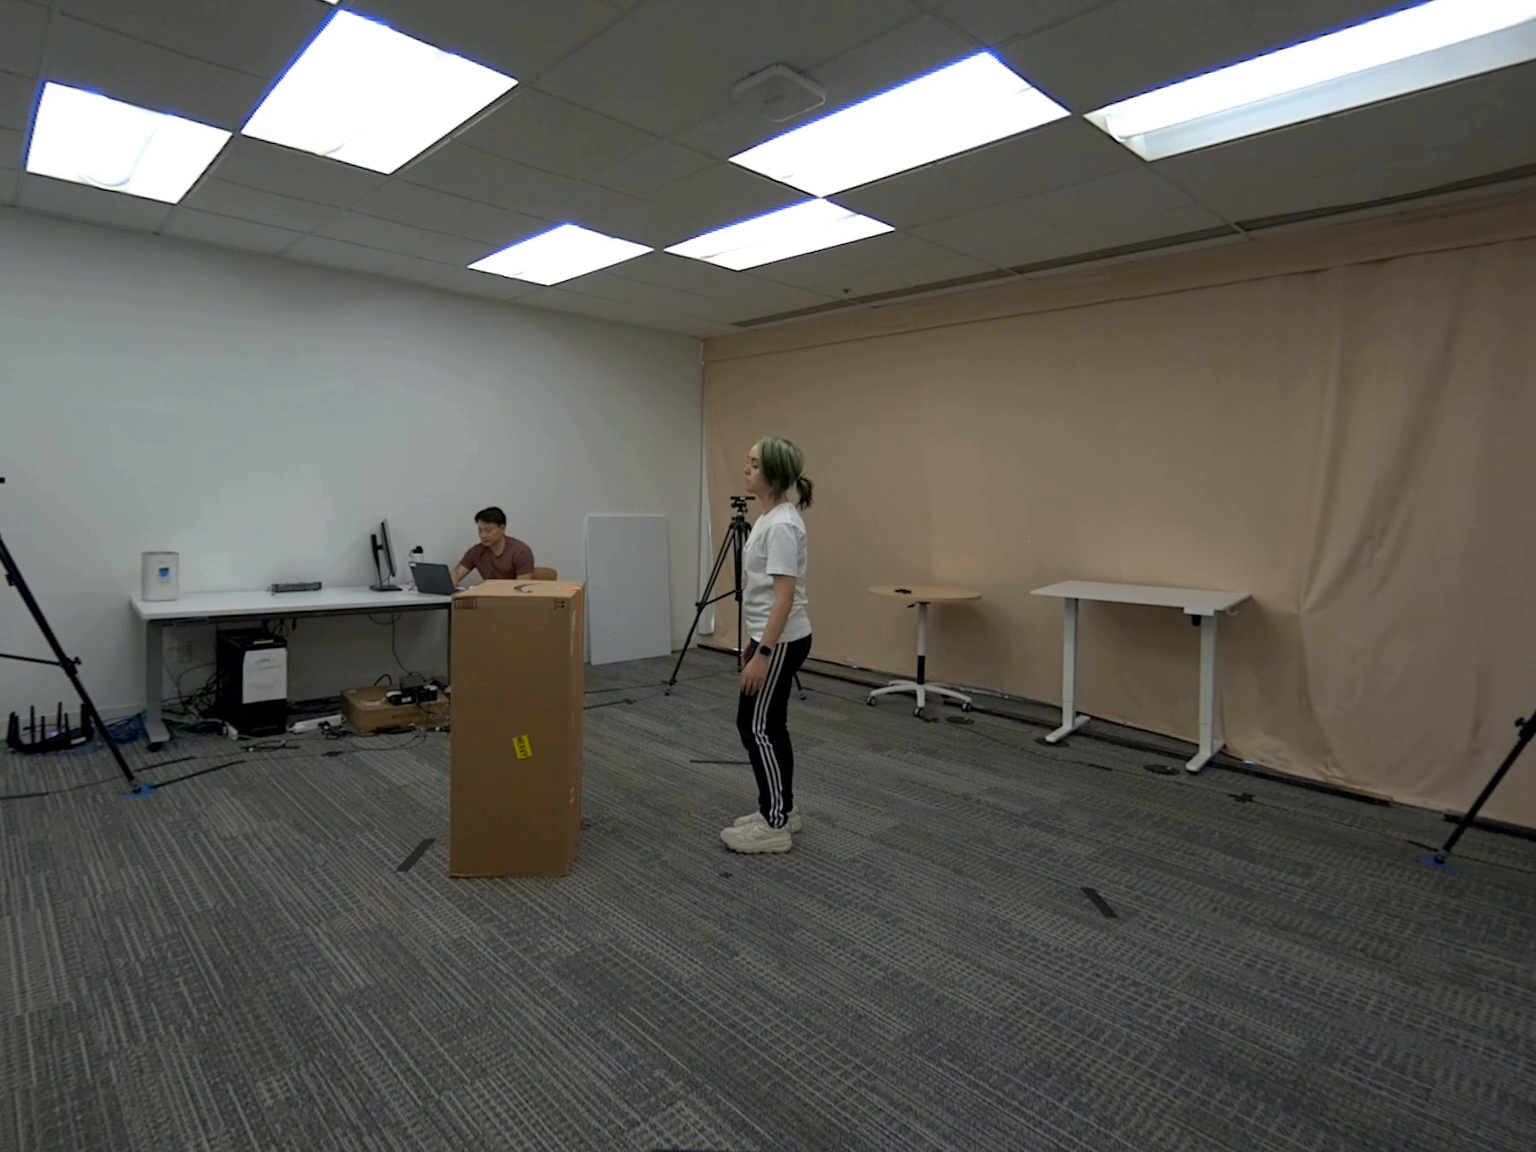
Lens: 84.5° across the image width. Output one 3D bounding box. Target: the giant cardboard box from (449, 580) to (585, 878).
[{"bbox_3d":[-0.969,0.560,3.304,0.444,1.025,0.588,0,3,-7],"label":"giant cardboard box"}]
